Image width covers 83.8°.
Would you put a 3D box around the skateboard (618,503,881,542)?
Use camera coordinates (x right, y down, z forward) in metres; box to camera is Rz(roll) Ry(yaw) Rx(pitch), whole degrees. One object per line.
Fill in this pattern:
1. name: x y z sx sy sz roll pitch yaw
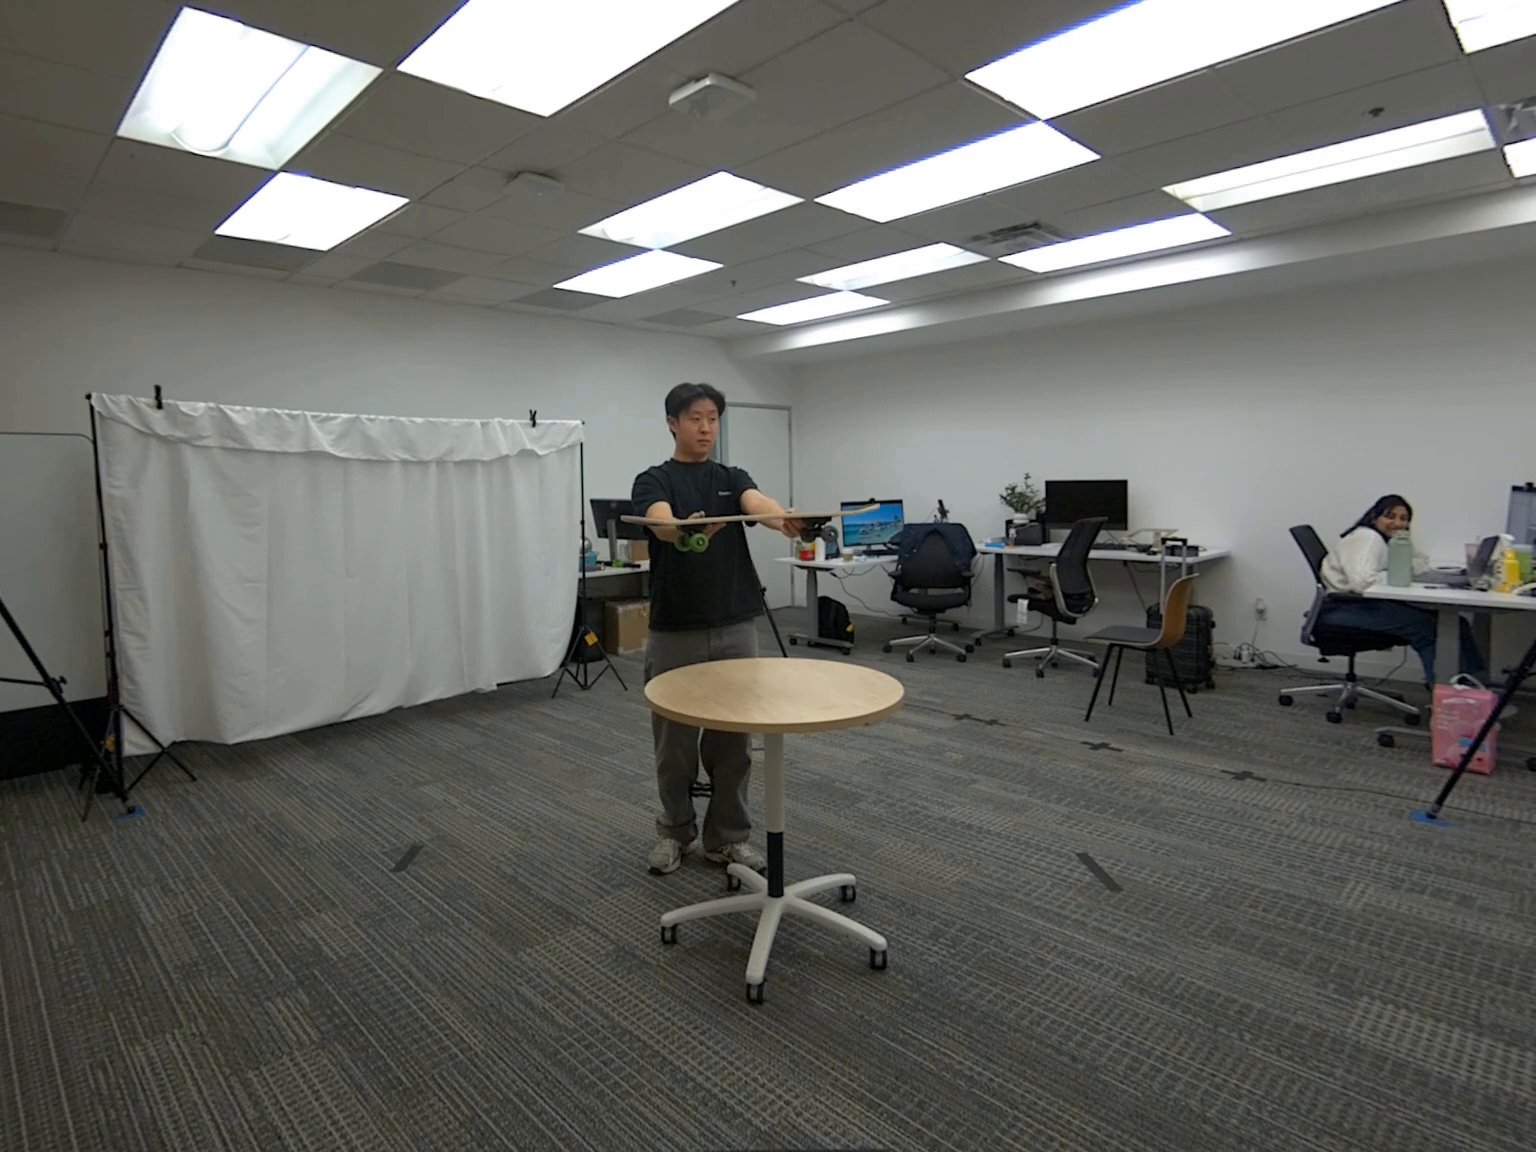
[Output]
1. skateboard: -0.037 -0.142 2.484 0.771 0.110 0.198 -5 6 -21
